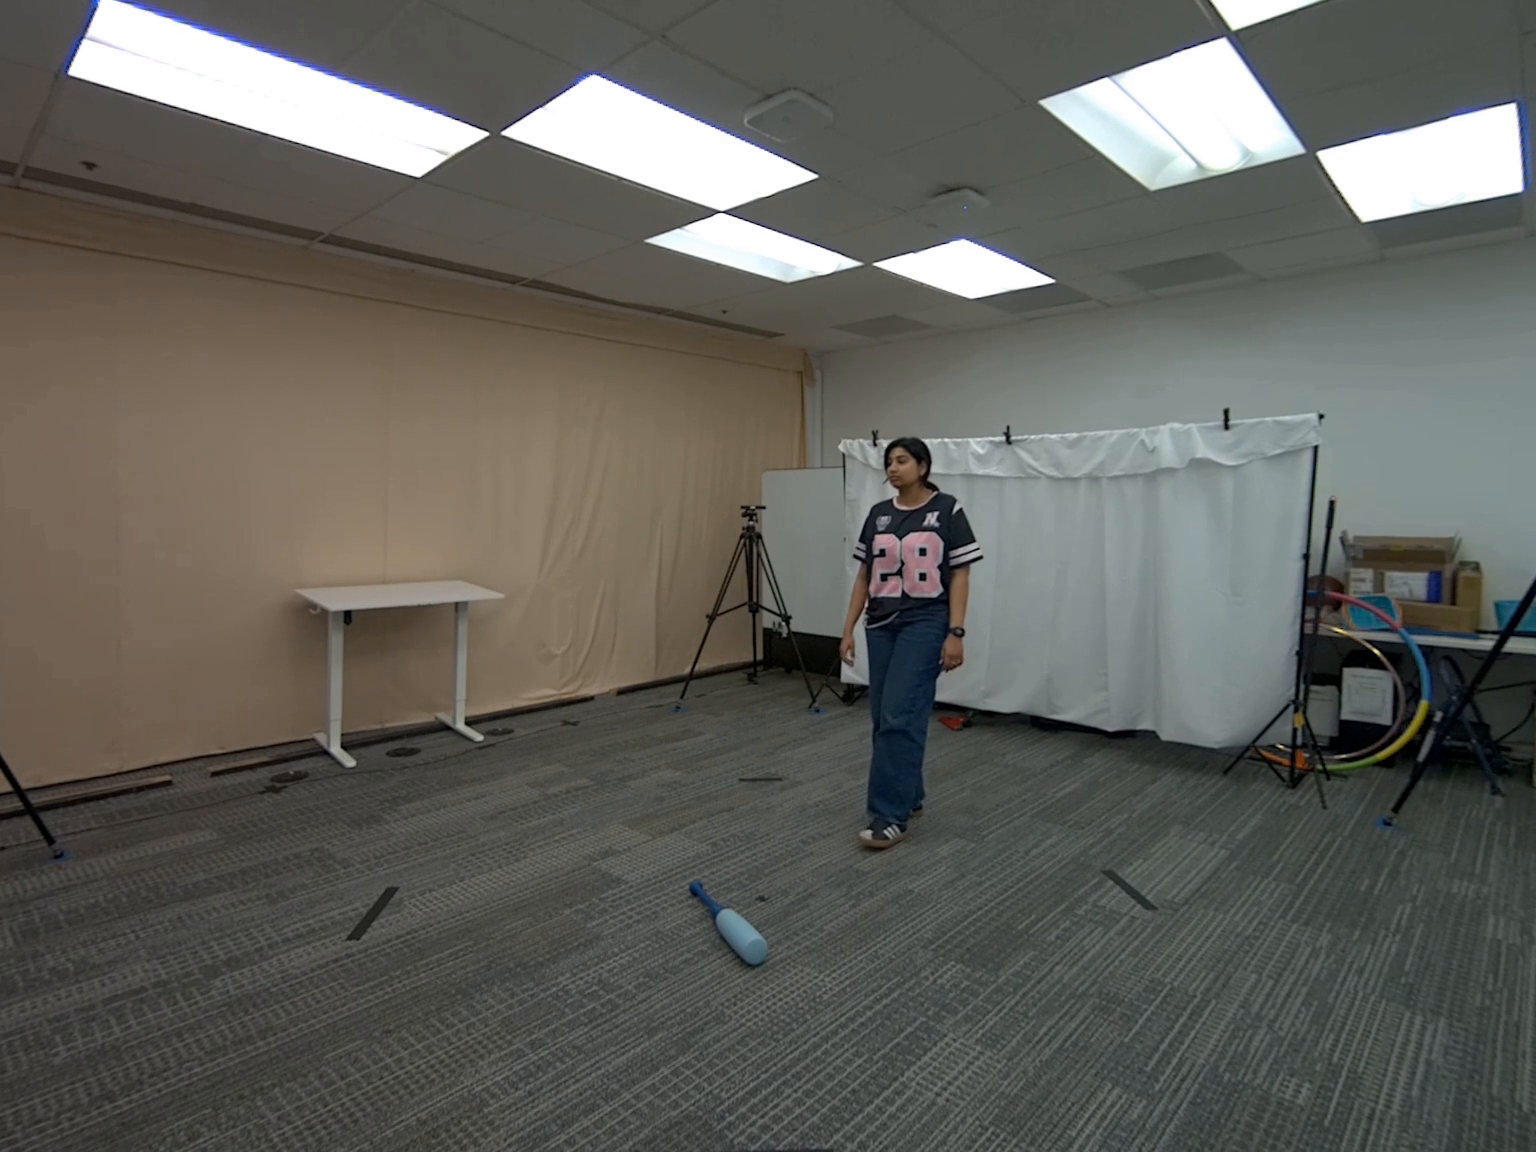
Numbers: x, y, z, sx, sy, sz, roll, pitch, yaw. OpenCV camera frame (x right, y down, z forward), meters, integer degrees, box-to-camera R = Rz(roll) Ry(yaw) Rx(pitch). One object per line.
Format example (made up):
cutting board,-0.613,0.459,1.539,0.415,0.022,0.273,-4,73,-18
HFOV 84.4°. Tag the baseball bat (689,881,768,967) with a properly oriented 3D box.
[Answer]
baseball bat,-0.143,1.129,2.774,0.087,0.089,0.555,-2,1,-24
